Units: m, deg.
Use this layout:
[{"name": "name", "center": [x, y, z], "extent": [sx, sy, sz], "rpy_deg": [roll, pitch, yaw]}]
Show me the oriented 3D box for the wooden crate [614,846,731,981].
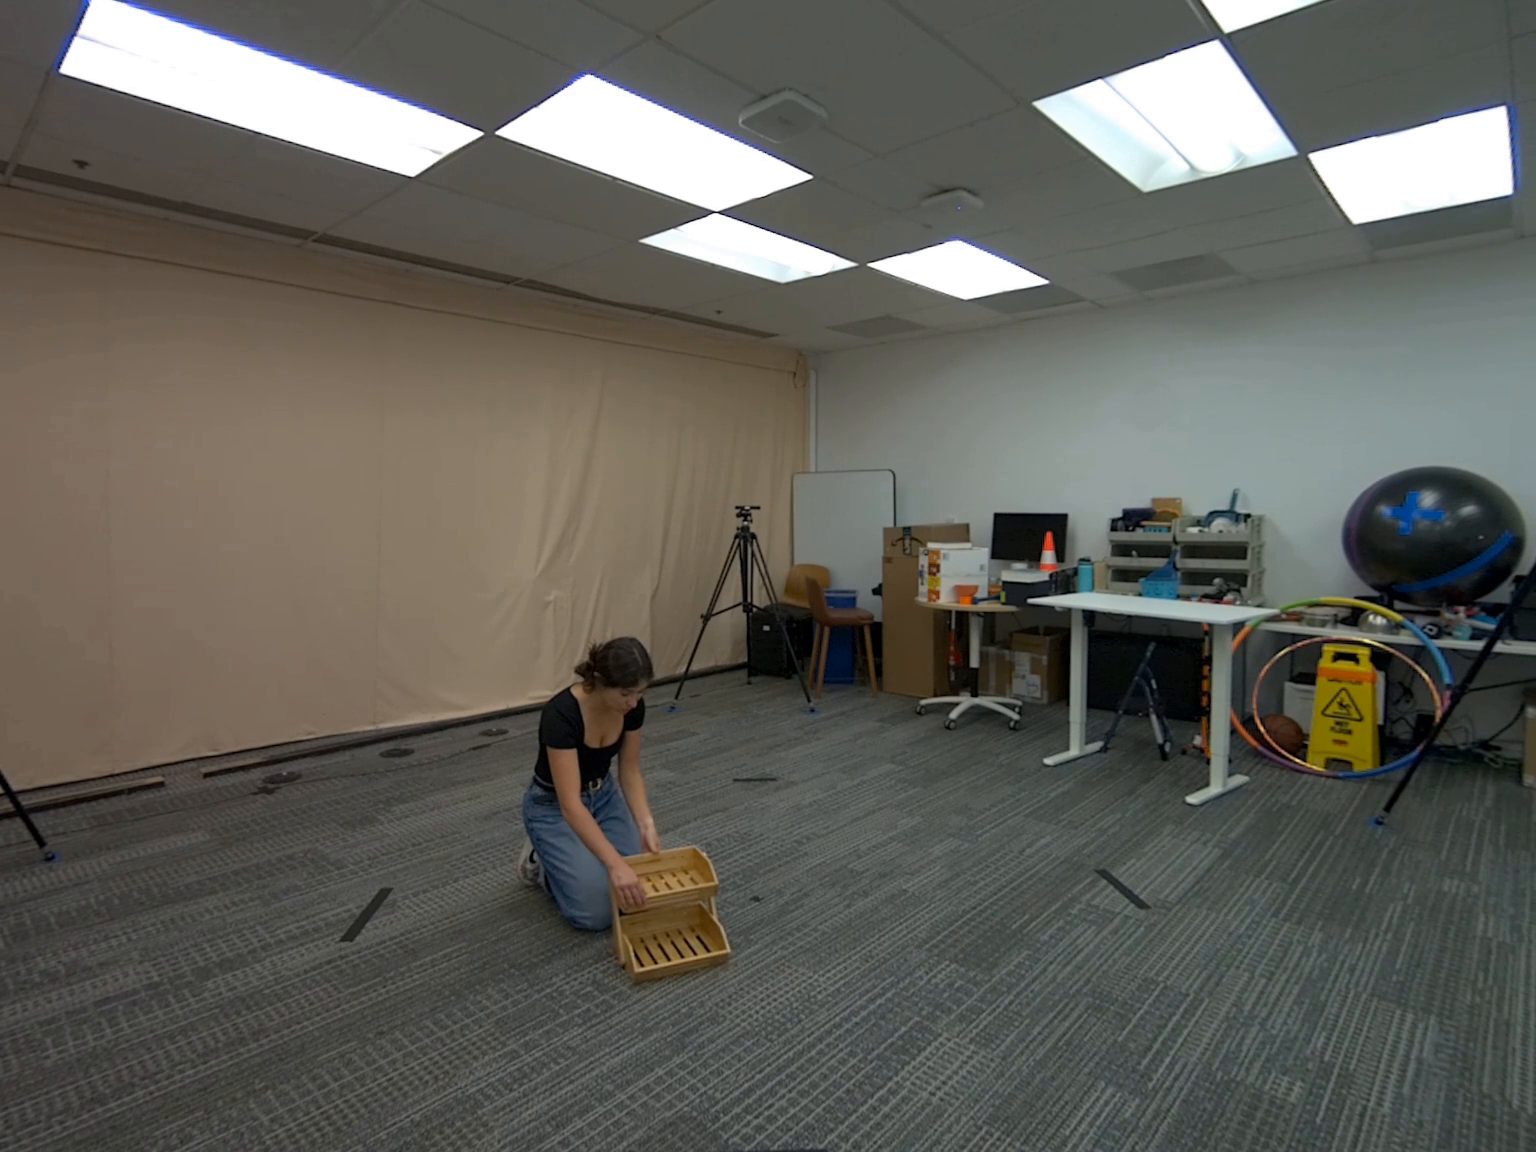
[{"name": "wooden crate", "center": [-0.309, 1.042, 2.618], "extent": [0.317, 0.273, 0.310], "rpy_deg": [-3, 4, -24]}]
